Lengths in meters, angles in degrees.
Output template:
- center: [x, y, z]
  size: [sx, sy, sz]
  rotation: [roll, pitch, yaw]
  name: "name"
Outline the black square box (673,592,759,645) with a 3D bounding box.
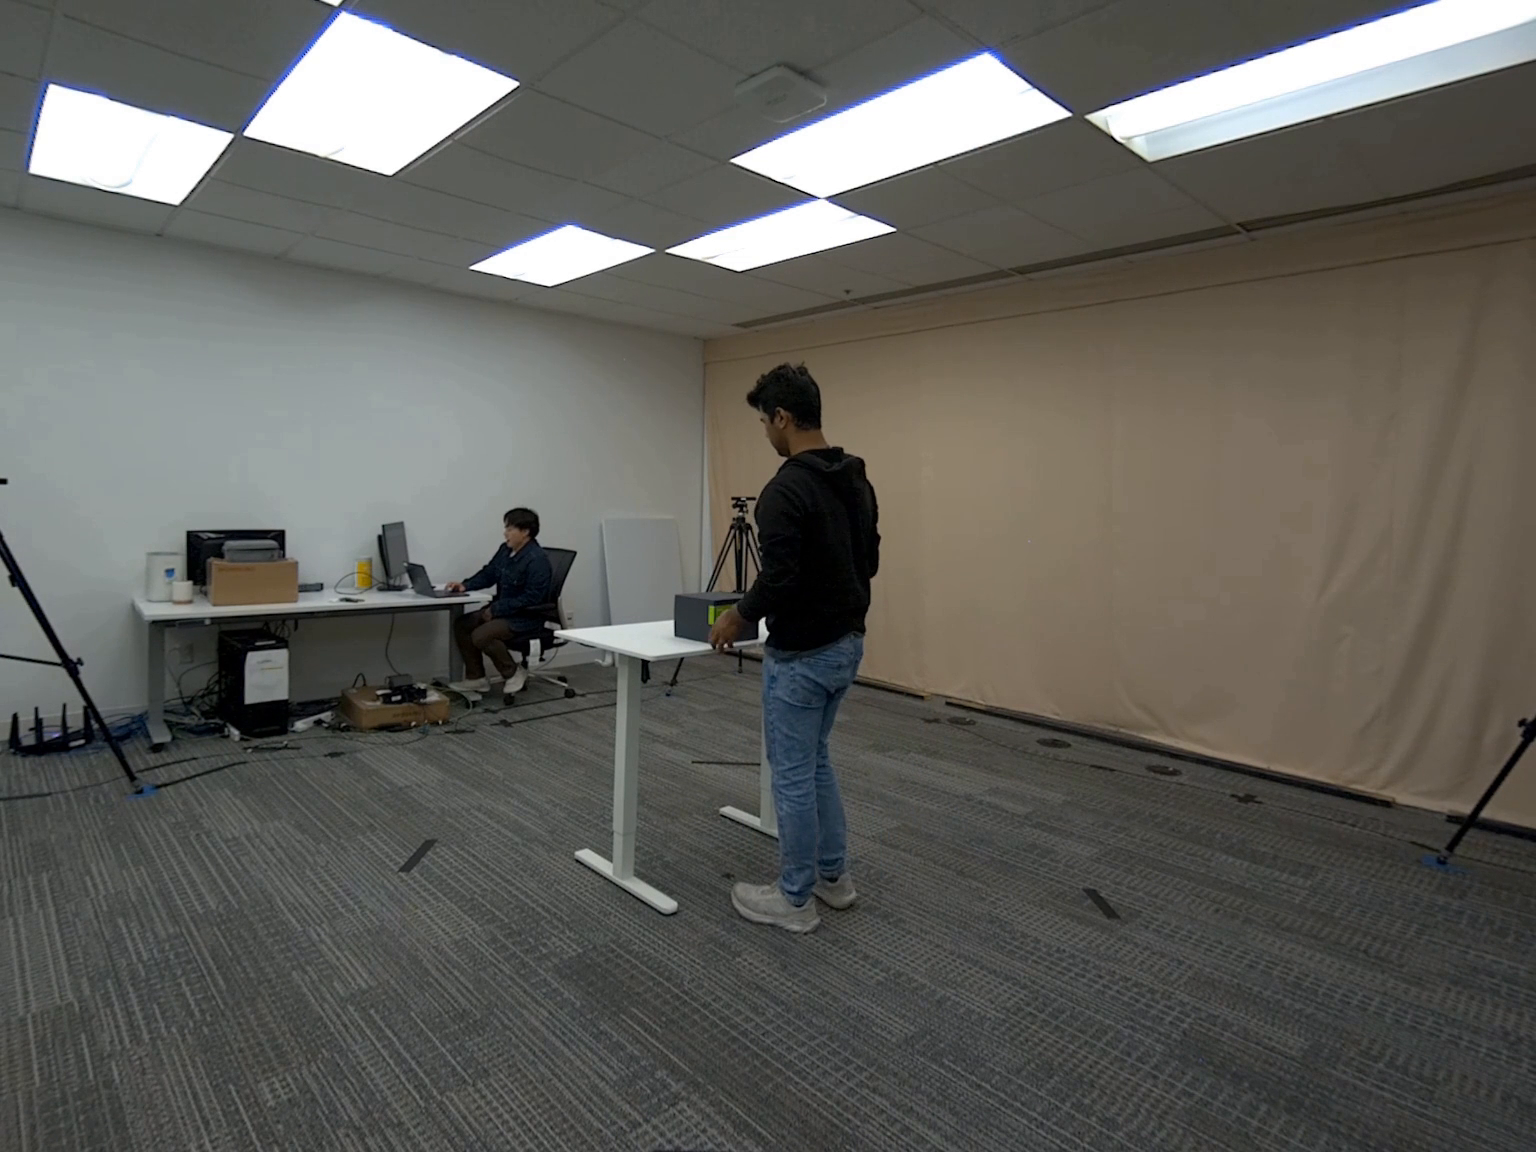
- center: [-0.198, 0.148, 3.072]
  size: [0.222, 0.155, 0.223]
  rotation: [6, 6, 43]
  name: "black square box"
